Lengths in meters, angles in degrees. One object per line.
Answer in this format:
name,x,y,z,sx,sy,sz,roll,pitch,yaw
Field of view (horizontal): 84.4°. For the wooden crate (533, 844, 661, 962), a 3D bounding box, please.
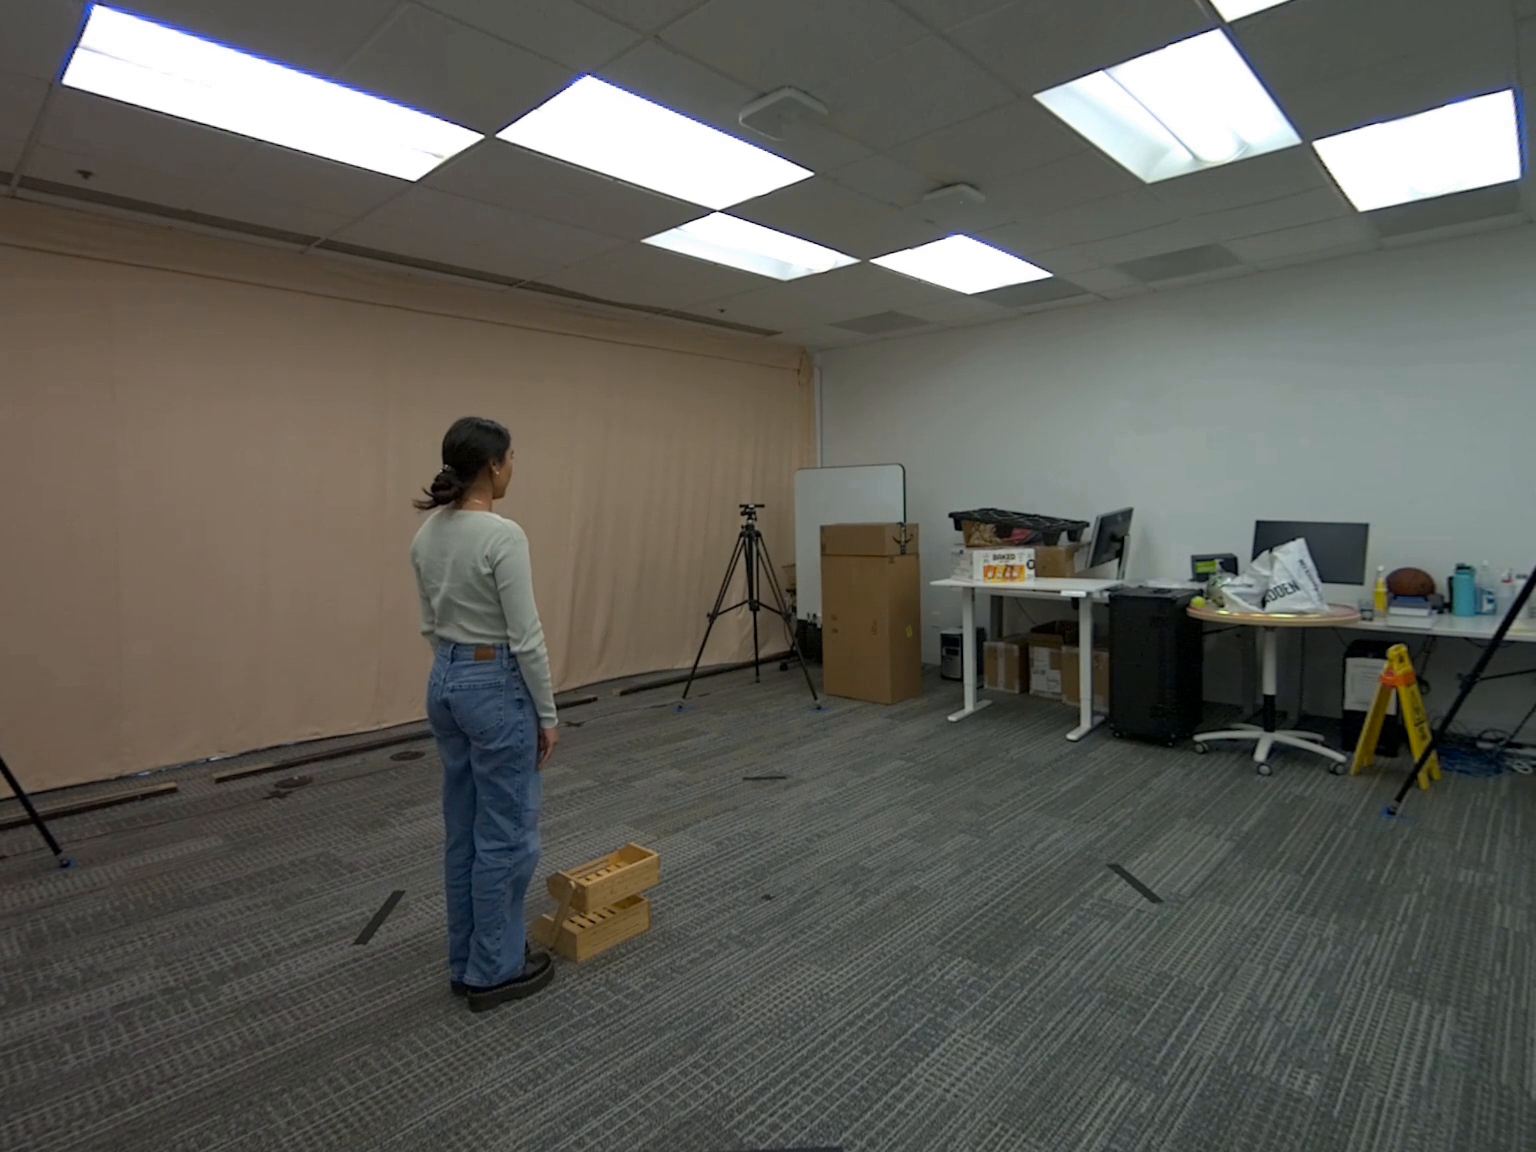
wooden crate,-0.564,1.040,2.740,0.312,0.272,0.315,4,6,42
